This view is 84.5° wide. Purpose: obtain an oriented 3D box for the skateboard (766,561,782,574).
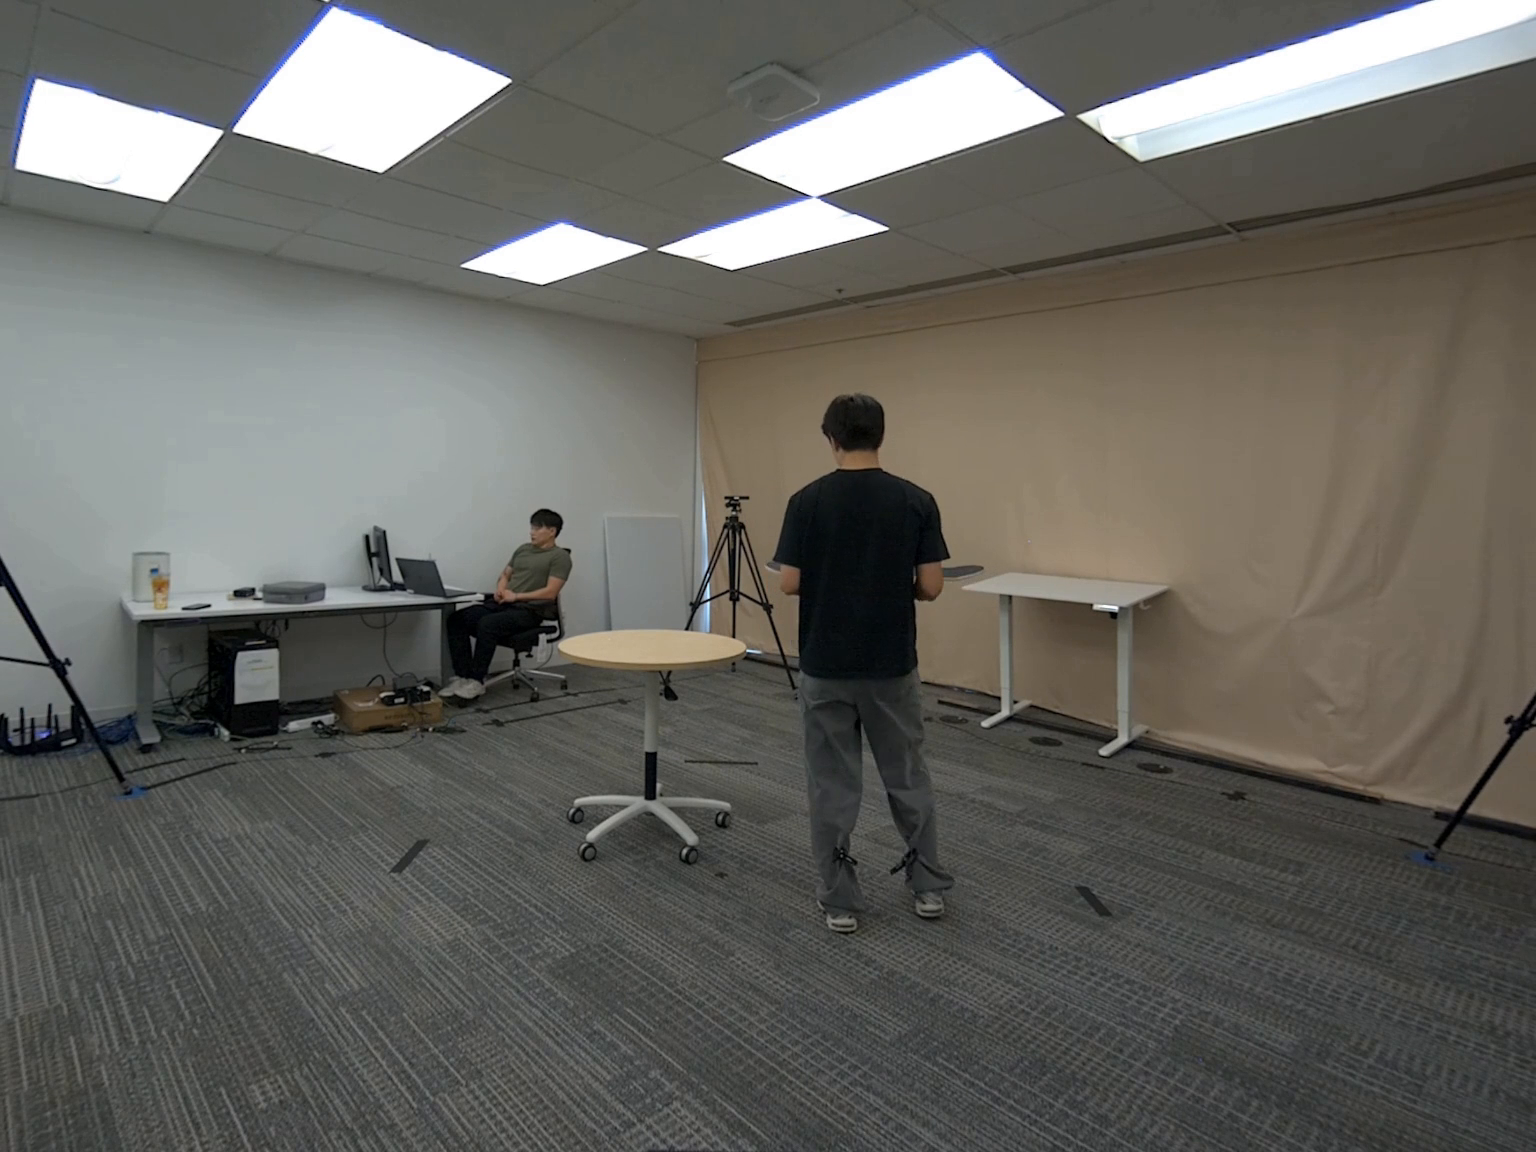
[{"bbox_3d":[0.427,0.023,3.070,0.791,0.109,0.193,0,11,9],"label":"skateboard"}]
